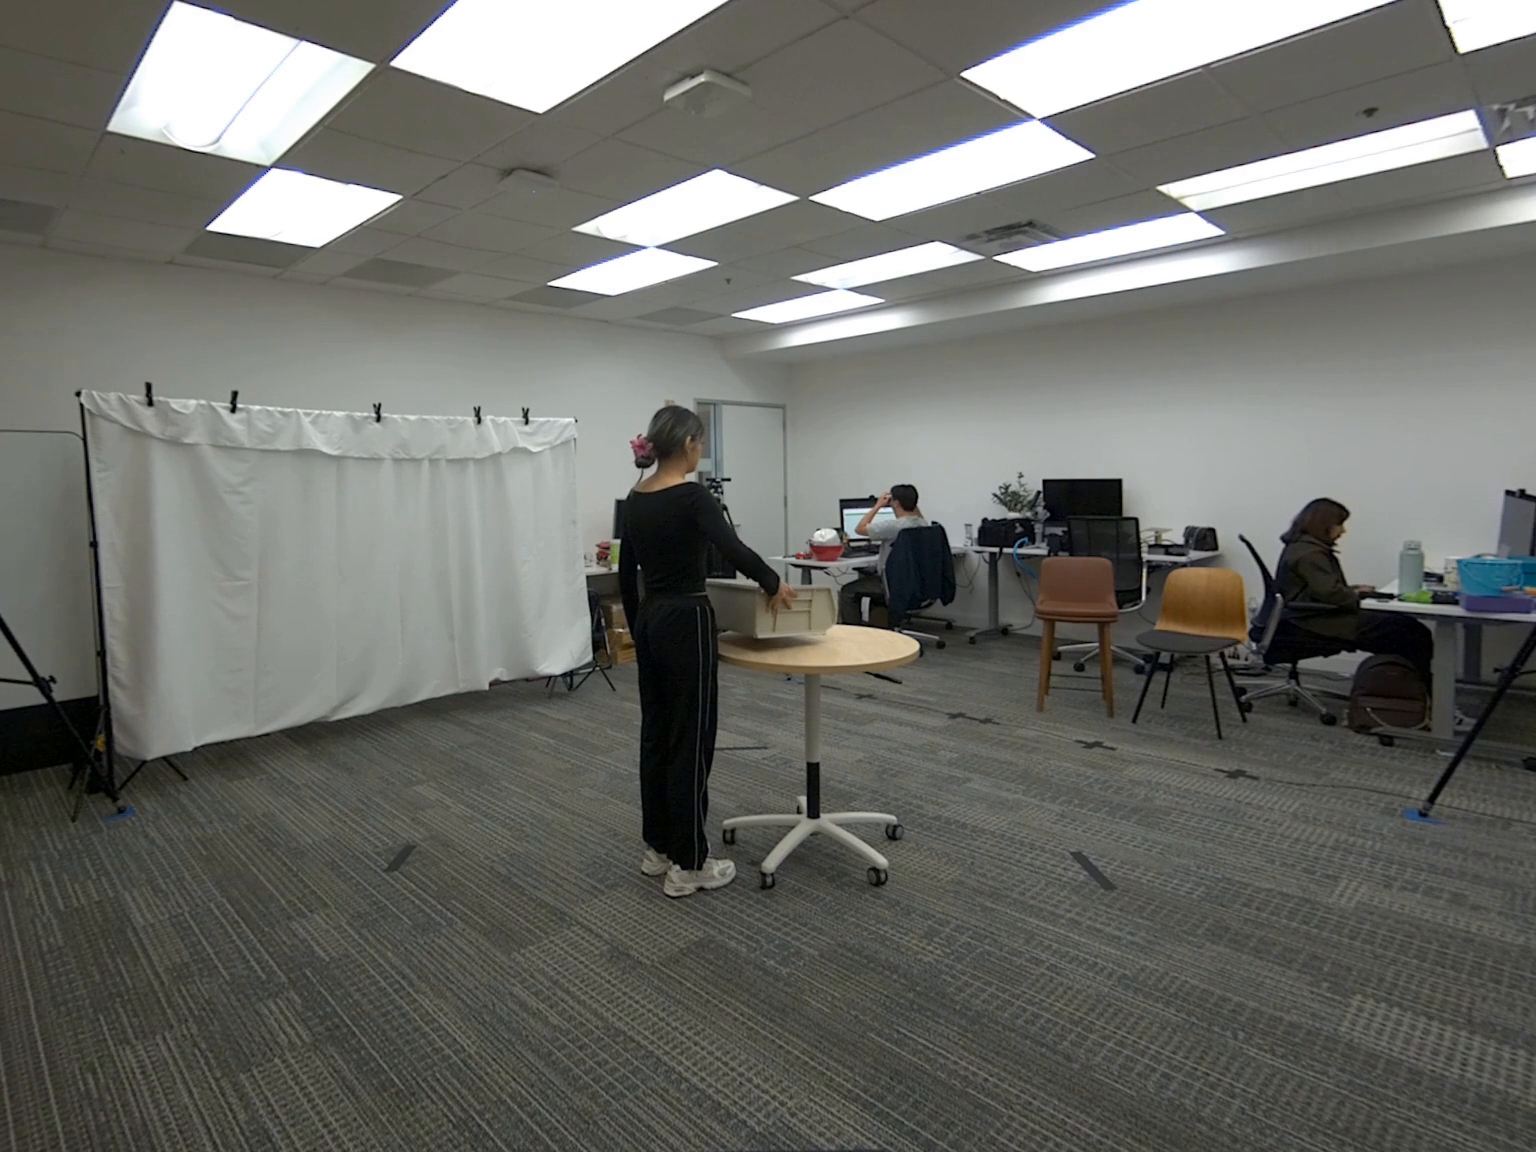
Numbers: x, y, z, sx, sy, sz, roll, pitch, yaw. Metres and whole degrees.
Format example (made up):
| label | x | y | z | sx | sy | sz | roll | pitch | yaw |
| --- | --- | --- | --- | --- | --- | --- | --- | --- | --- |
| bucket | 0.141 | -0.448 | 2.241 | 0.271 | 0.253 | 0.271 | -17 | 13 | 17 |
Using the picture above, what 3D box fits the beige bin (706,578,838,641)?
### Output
| label | x | y | z | sx | sy | sz | roll | pitch | yaw |
| --- | --- | --- | --- | --- | --- | --- | --- | --- | --- |
| beige bin | -0.021 | 0.110 | 3.183 | 0.367 | 0.189 | 0.435 | 0 | 3 | -37 |
